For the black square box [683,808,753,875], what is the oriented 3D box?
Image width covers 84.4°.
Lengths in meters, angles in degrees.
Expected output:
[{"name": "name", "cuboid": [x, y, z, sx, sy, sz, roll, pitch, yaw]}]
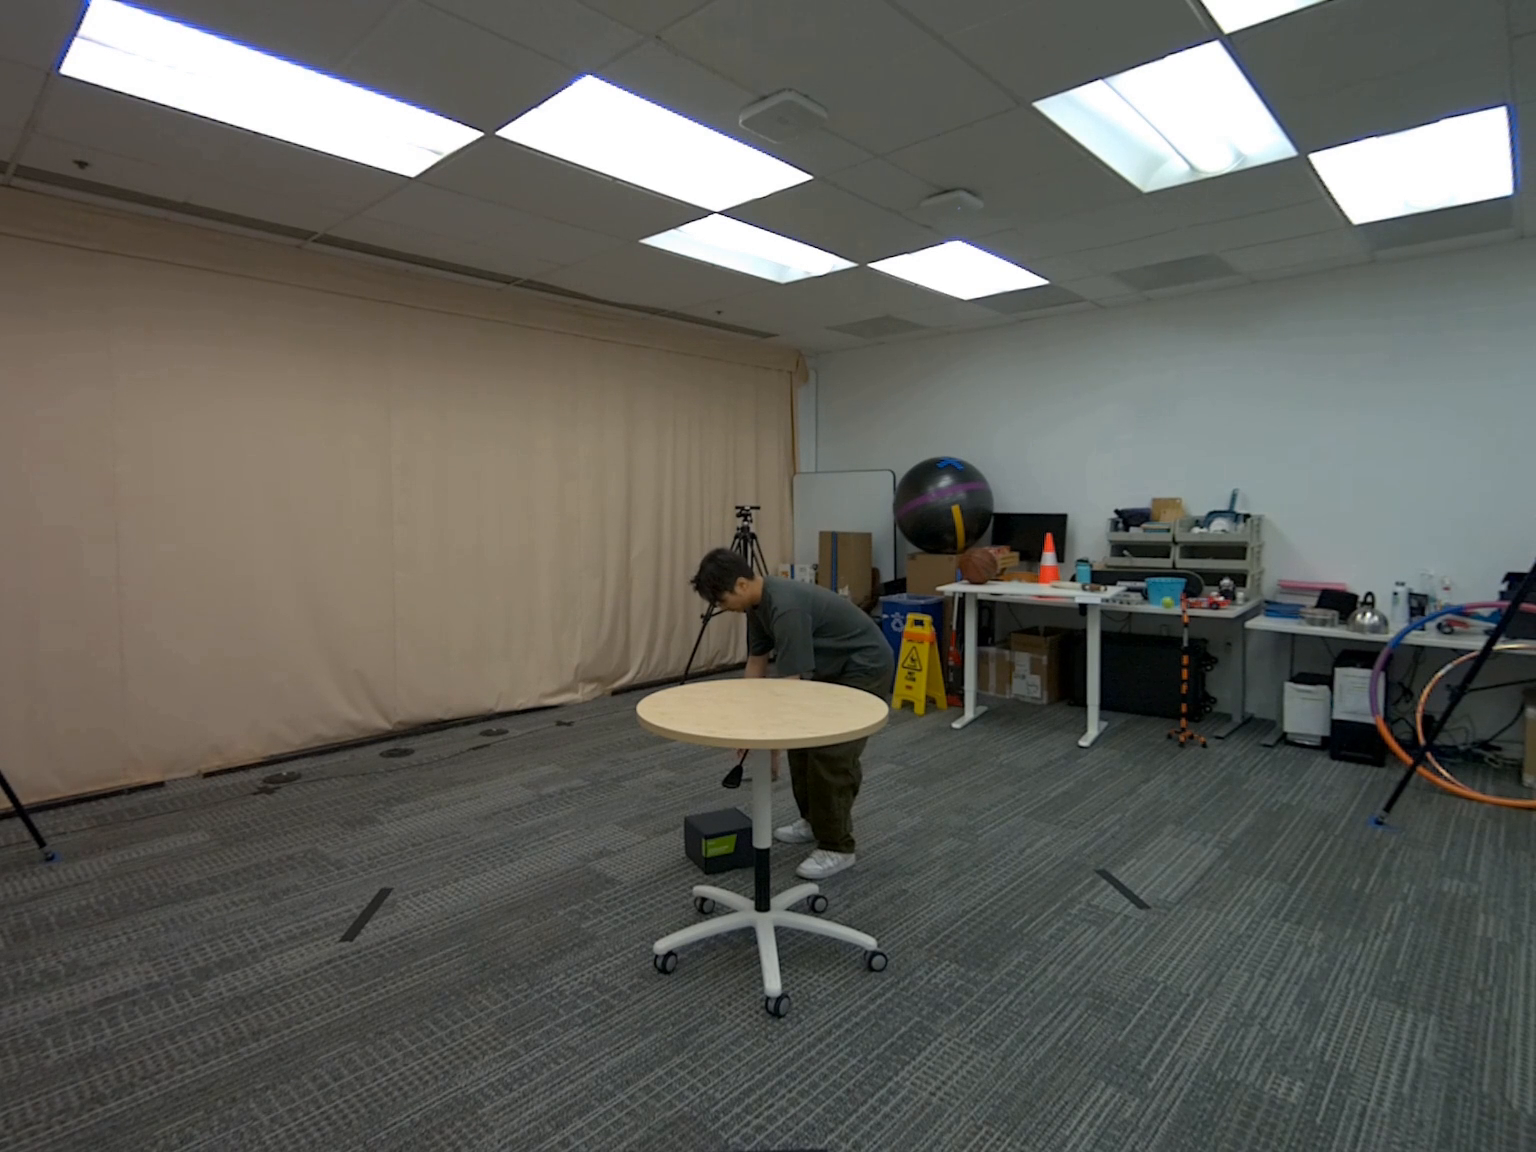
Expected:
[{"name": "black square box", "cuboid": [-0.183, 1.035, 3.315, 0.222, 0.155, 0.223, -3, 5, -26]}]
